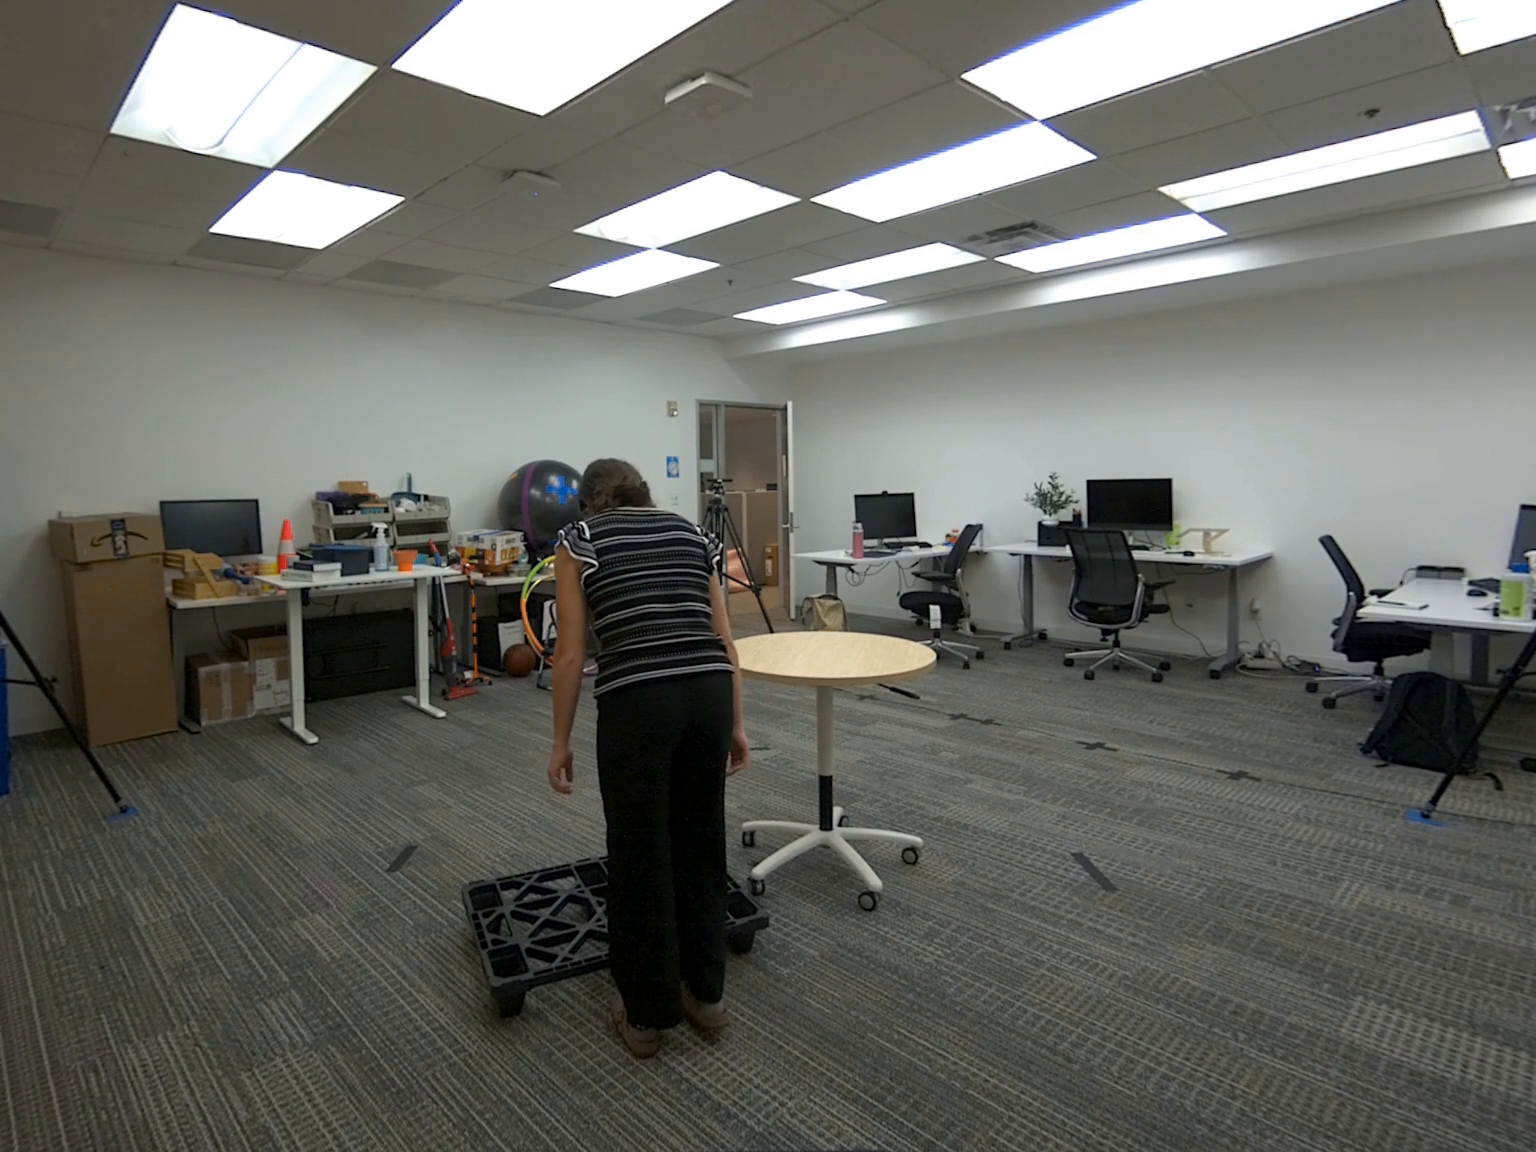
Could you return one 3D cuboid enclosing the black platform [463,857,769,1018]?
[{"bbox_3d":[-0.476,1.048,2.591,0.789,0.143,0.620,-4,7,-25],"label":"black platform"}]
